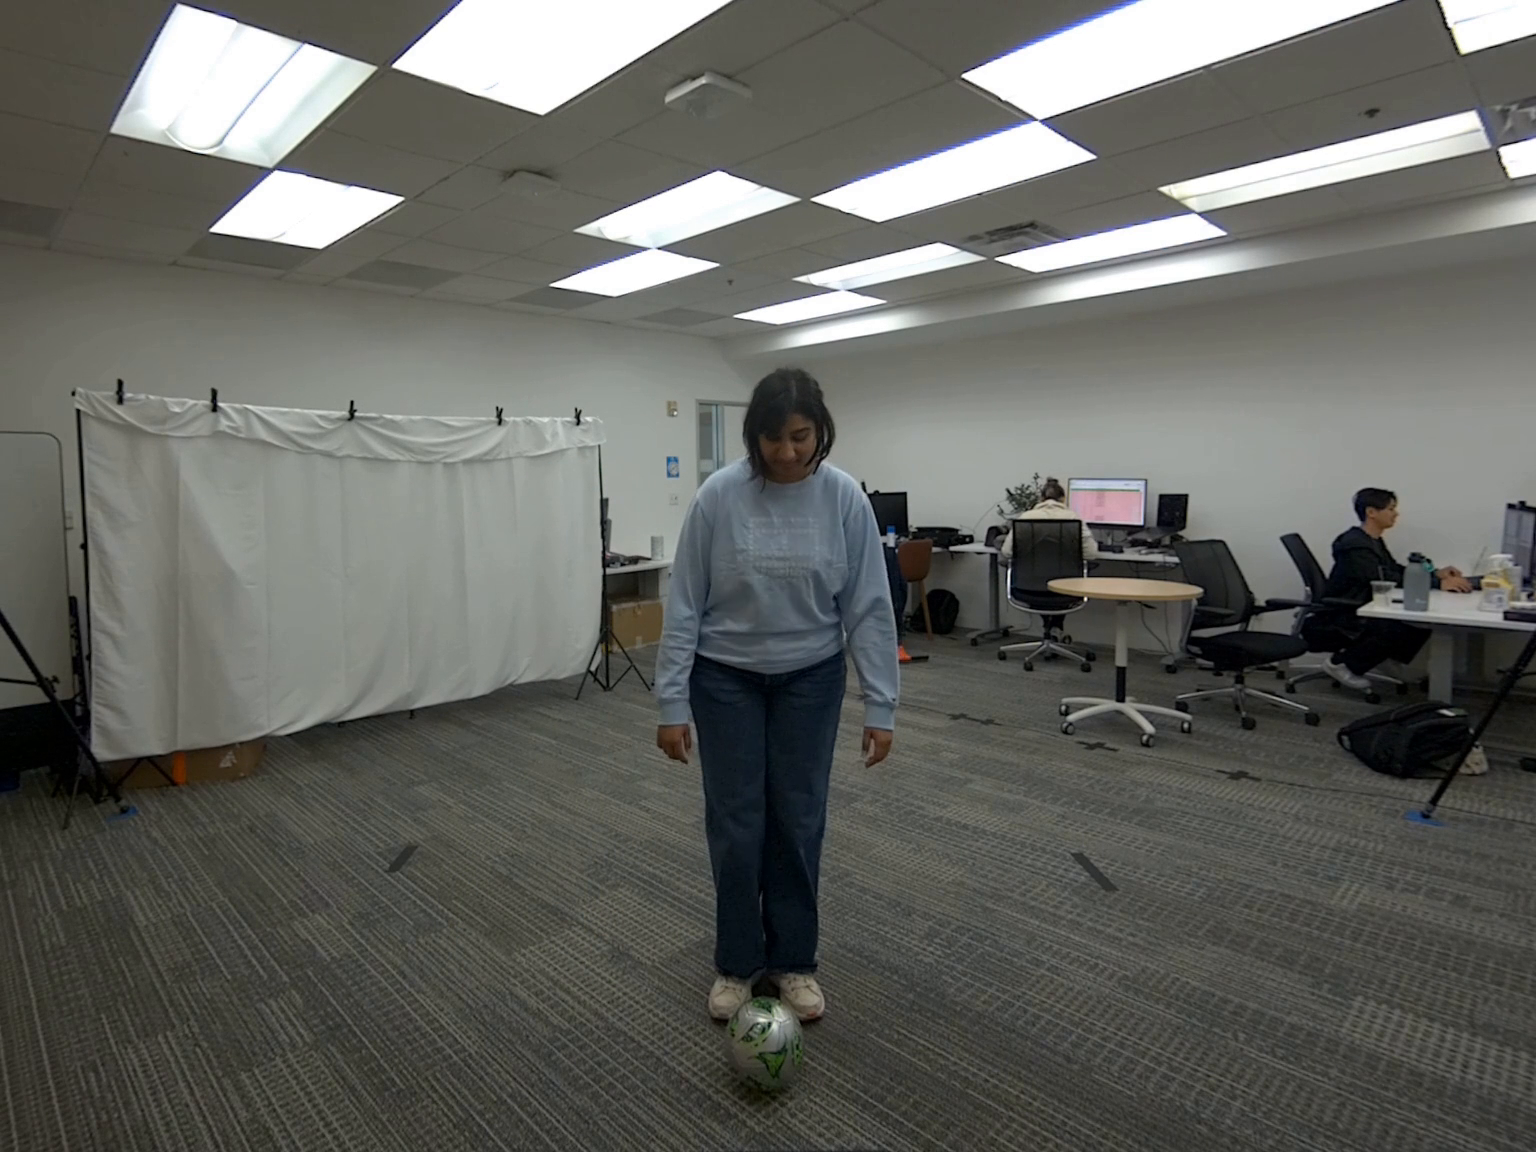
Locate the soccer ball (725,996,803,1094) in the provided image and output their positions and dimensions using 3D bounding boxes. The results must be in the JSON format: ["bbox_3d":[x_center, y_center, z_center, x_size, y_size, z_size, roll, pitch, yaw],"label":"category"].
[{"bbox_3d":[-0.006,1.096,1.976,0.187,0.187,0.188,-1,5,-2],"label":"soccer ball"}]
